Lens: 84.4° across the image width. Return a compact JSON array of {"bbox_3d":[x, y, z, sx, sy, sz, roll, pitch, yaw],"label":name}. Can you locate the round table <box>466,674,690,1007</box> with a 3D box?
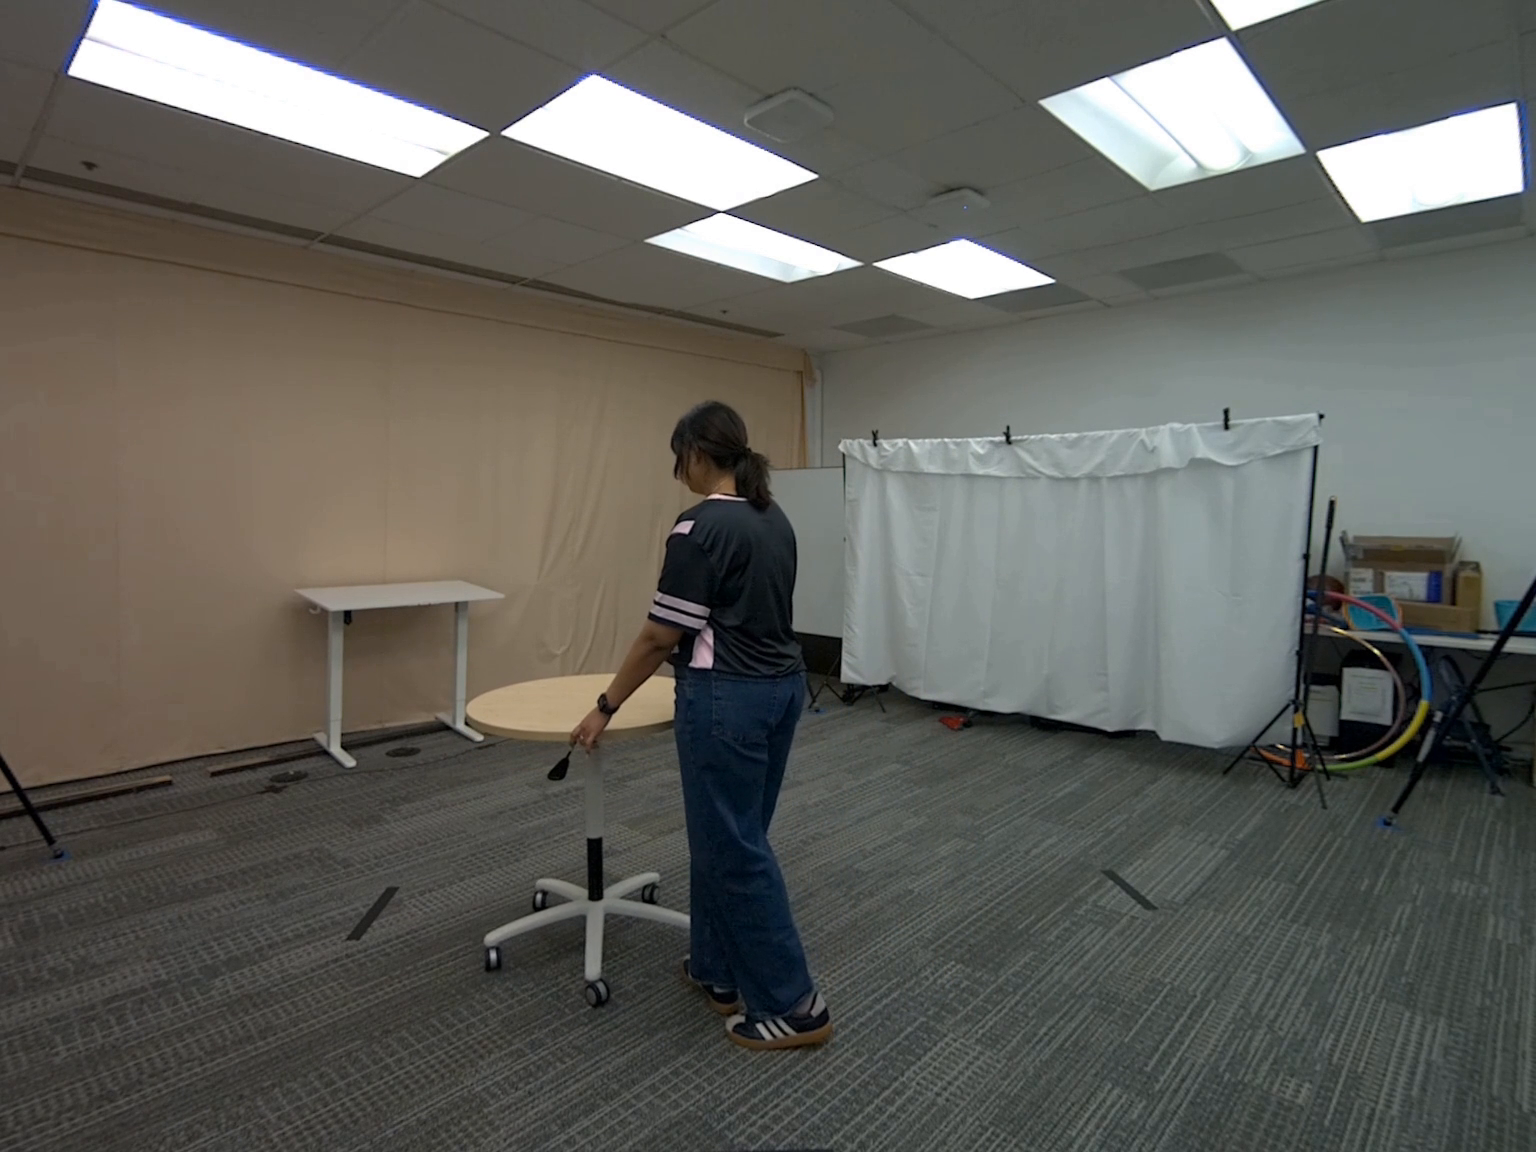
[{"bbox_3d":[-0.550,0.784,2.684,0.763,0.792,0.766,-1,4,-2],"label":"round table"}]
